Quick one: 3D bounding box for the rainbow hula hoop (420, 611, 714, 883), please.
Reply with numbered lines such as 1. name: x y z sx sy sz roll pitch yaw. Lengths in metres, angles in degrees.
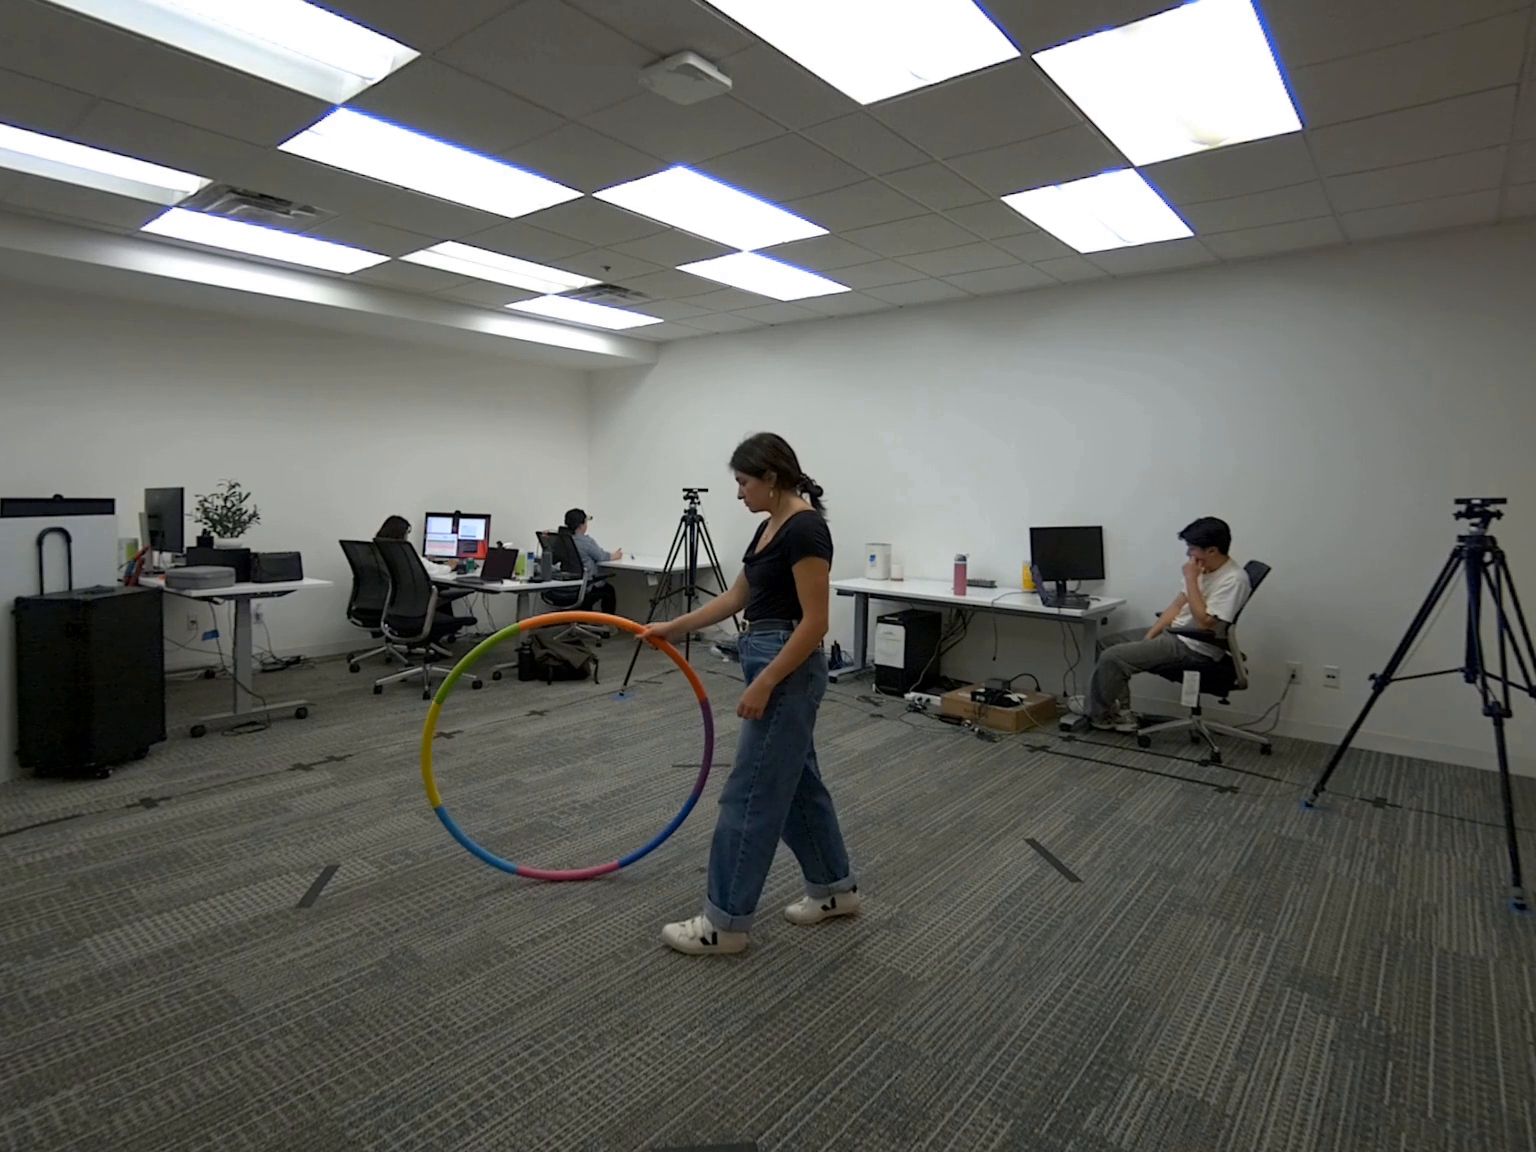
1. rainbow hula hoop: -0.674 0.600 2.919 0.967 0.969 0.036 0 10 -11
